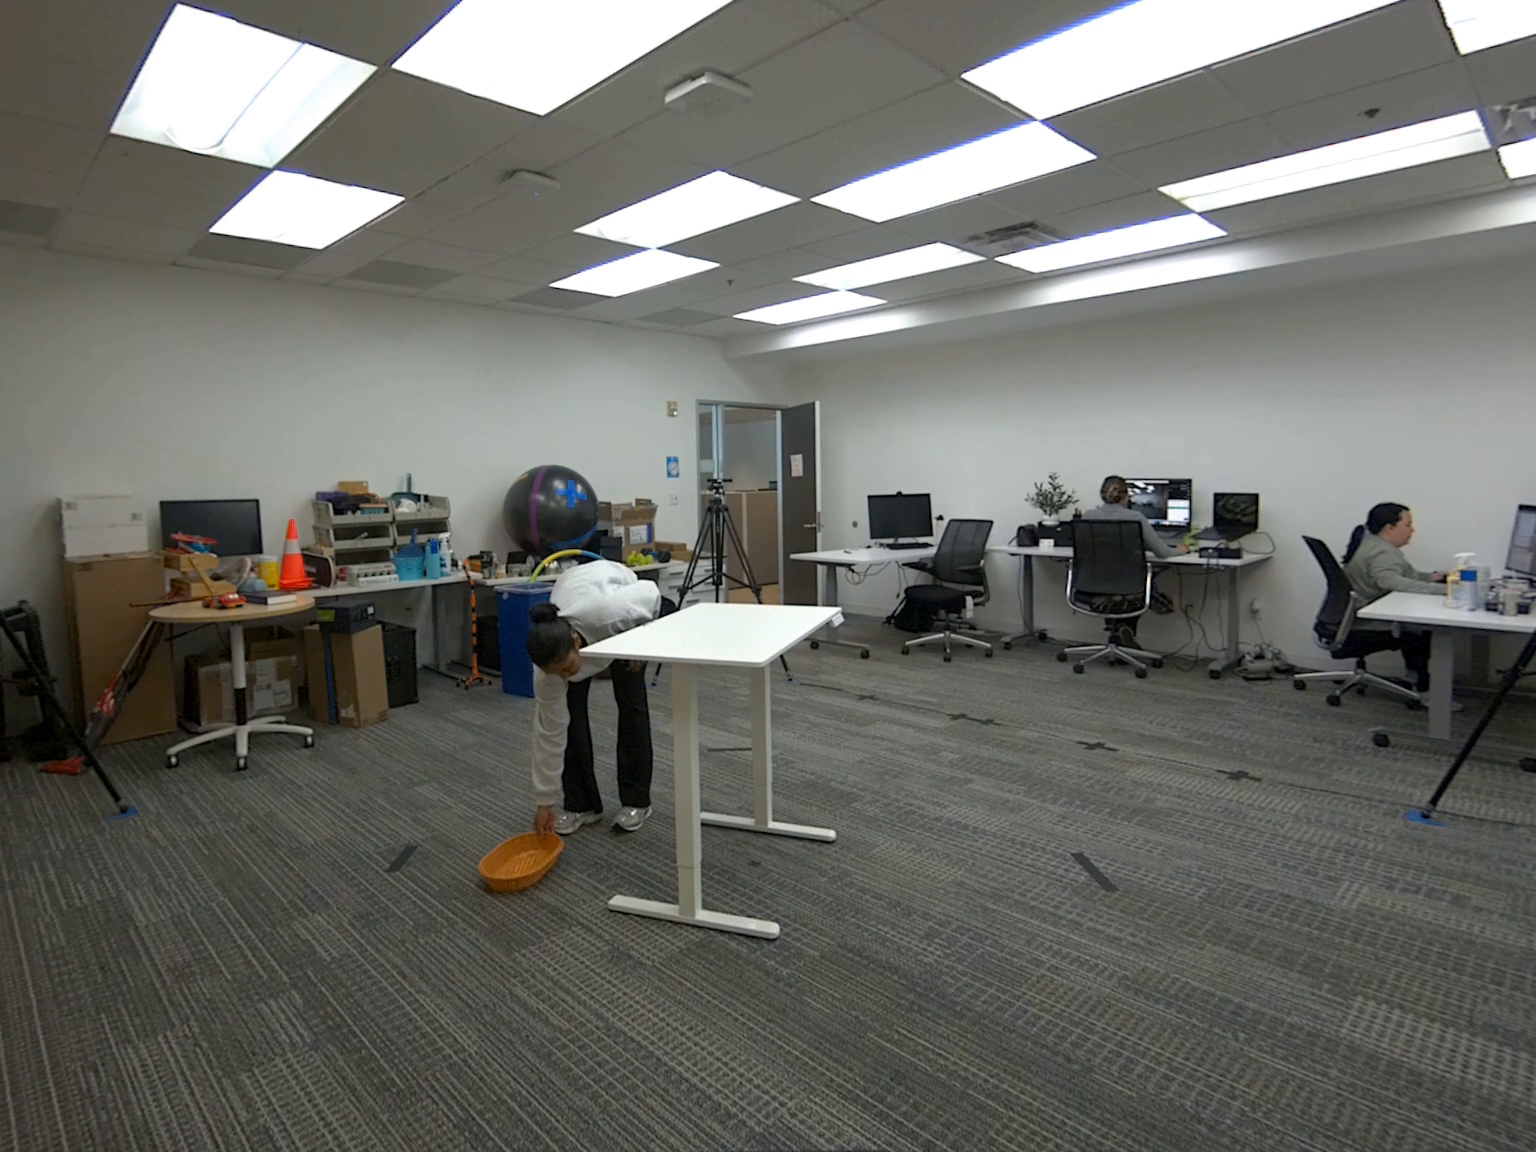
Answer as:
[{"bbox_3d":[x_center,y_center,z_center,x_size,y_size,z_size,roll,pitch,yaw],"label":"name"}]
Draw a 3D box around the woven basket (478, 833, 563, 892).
[{"bbox_3d":[-0.884,1.014,3.052,0.257,0.073,0.346,0,9,20],"label":"woven basket"}]
